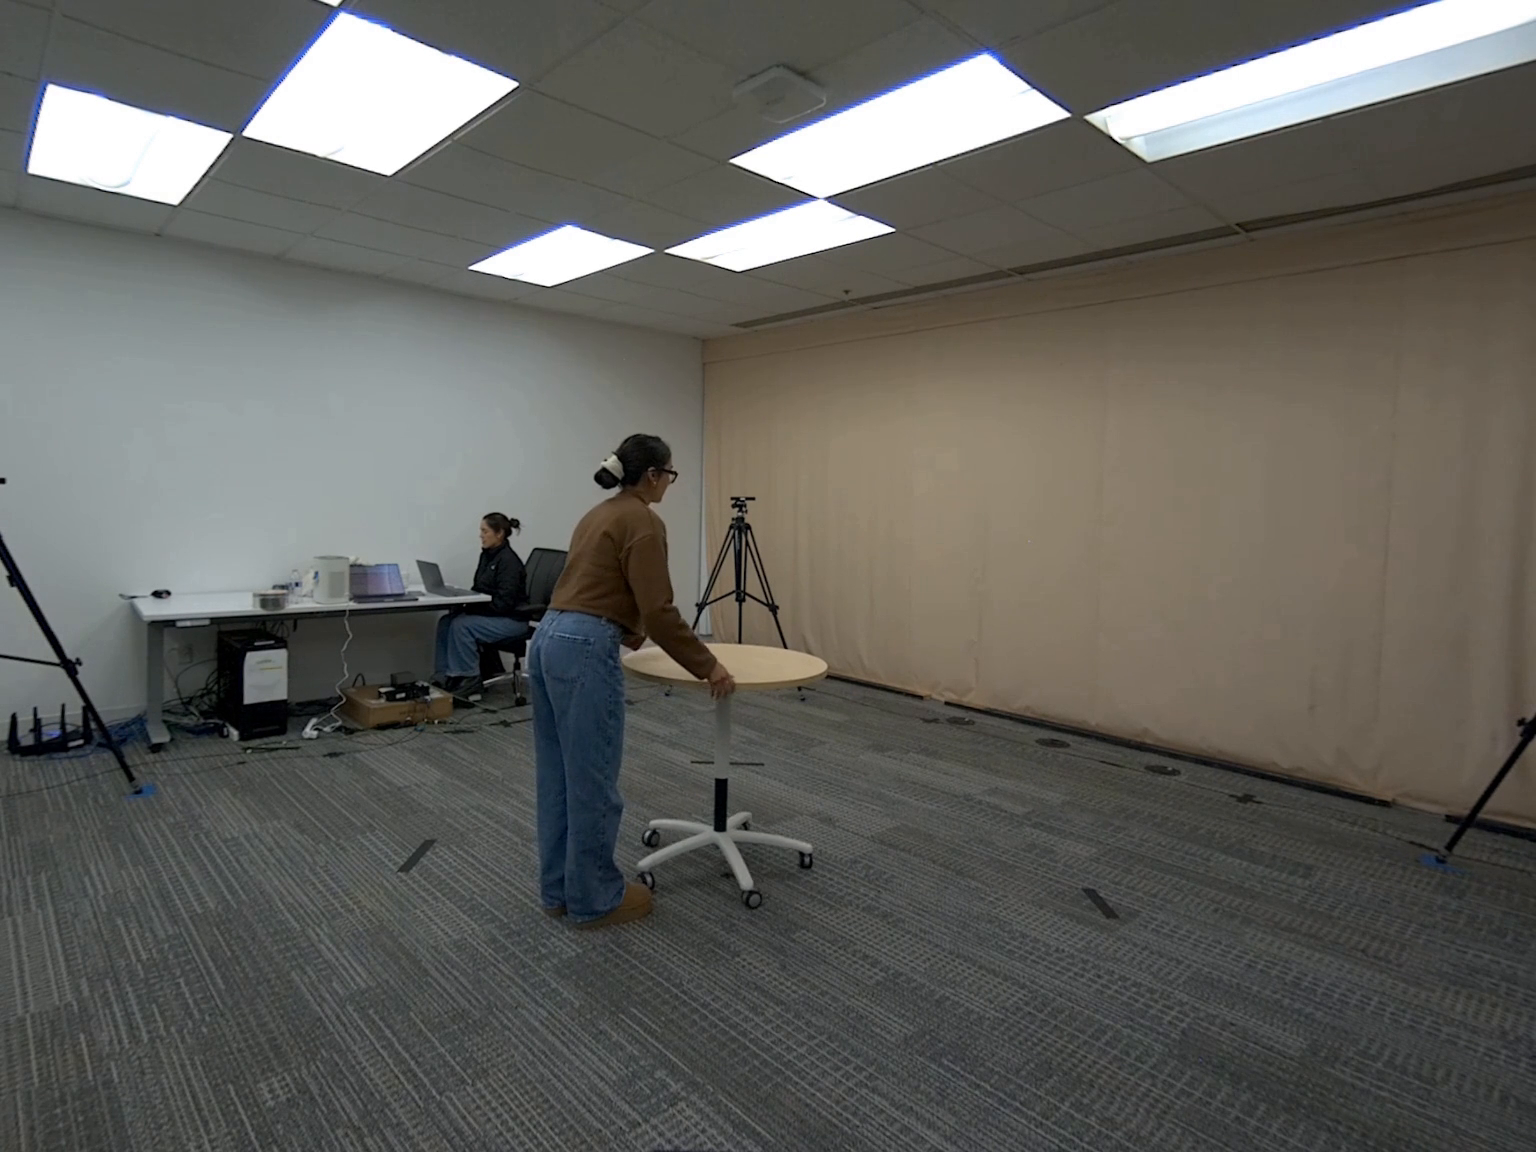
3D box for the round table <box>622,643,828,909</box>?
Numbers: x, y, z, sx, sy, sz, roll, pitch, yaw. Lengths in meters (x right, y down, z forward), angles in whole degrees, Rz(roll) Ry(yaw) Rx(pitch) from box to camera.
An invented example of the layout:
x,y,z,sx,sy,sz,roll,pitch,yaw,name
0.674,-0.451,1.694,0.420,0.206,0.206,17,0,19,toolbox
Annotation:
x,y,z,sx,sy,sz,roll,pitch,yaw,name
-0.181,0.710,3.160,0.763,0.792,0.766,2,4,-1,round table
